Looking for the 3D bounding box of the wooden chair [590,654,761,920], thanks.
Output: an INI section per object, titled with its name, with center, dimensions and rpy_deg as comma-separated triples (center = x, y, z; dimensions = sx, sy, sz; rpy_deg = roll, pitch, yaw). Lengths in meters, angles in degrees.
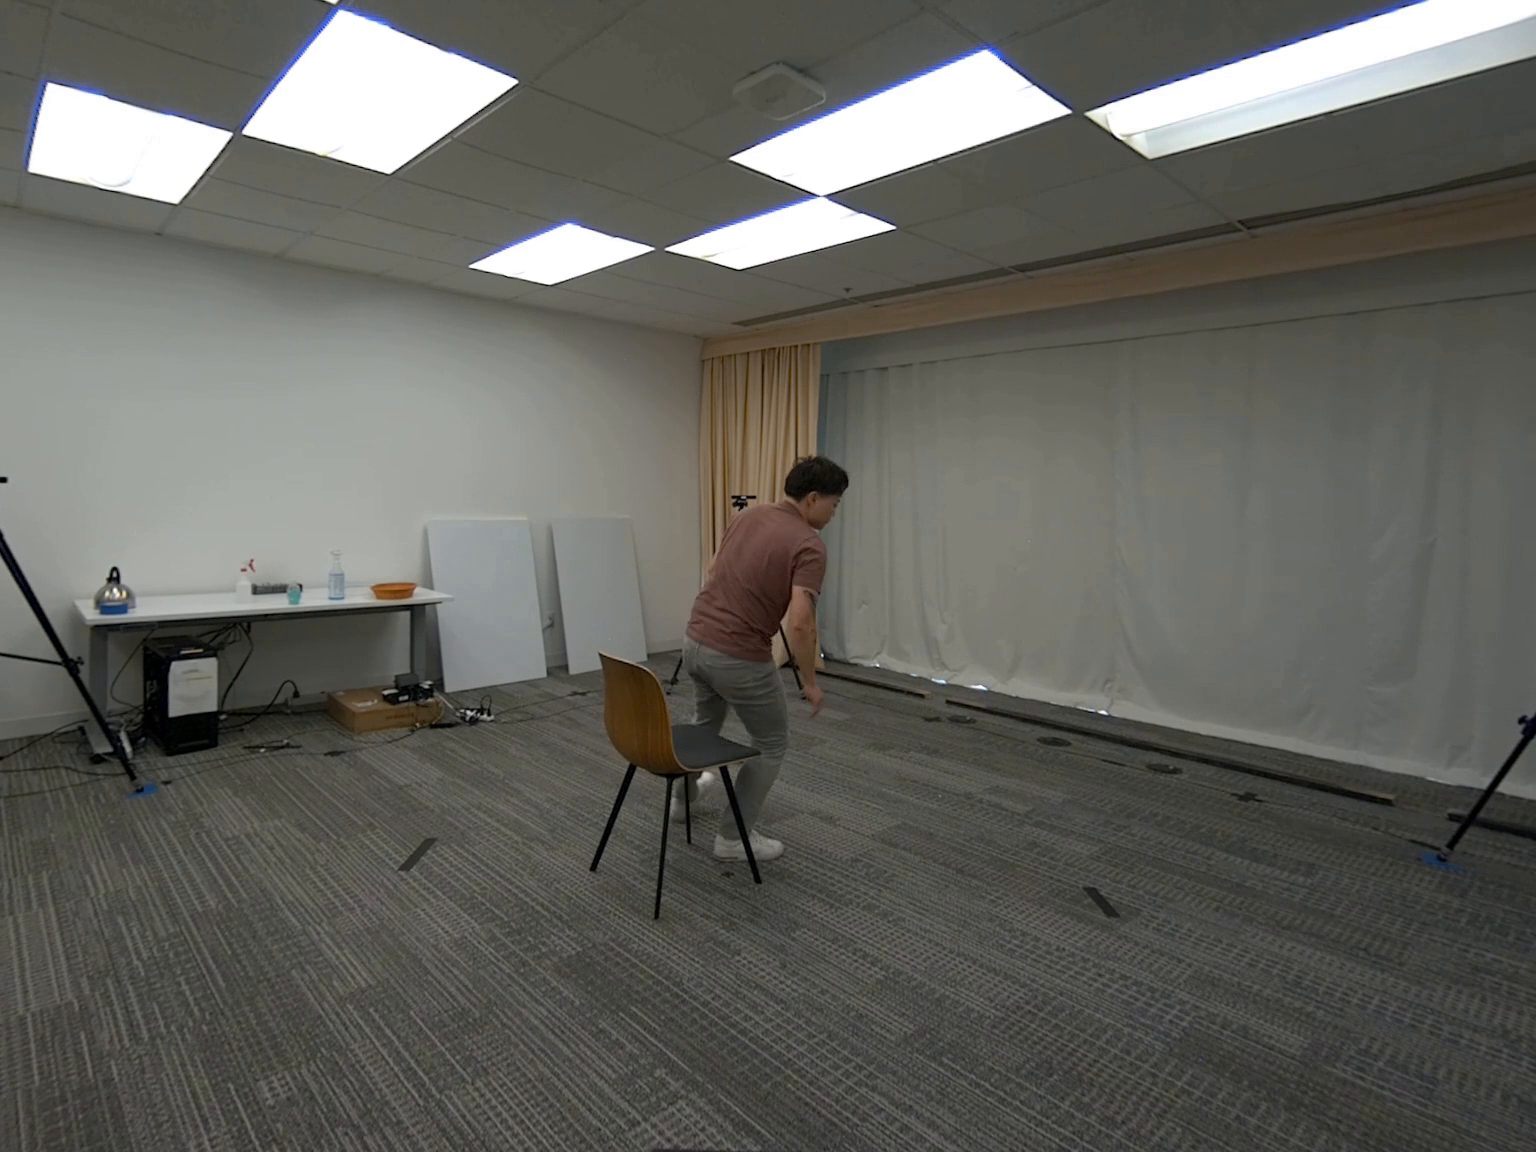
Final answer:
[wooden chair]
center = -0.331, 0.676, 3.041
dimensions = 0.512, 0.873, 0.490
rpy_deg = -7, 7, -38
